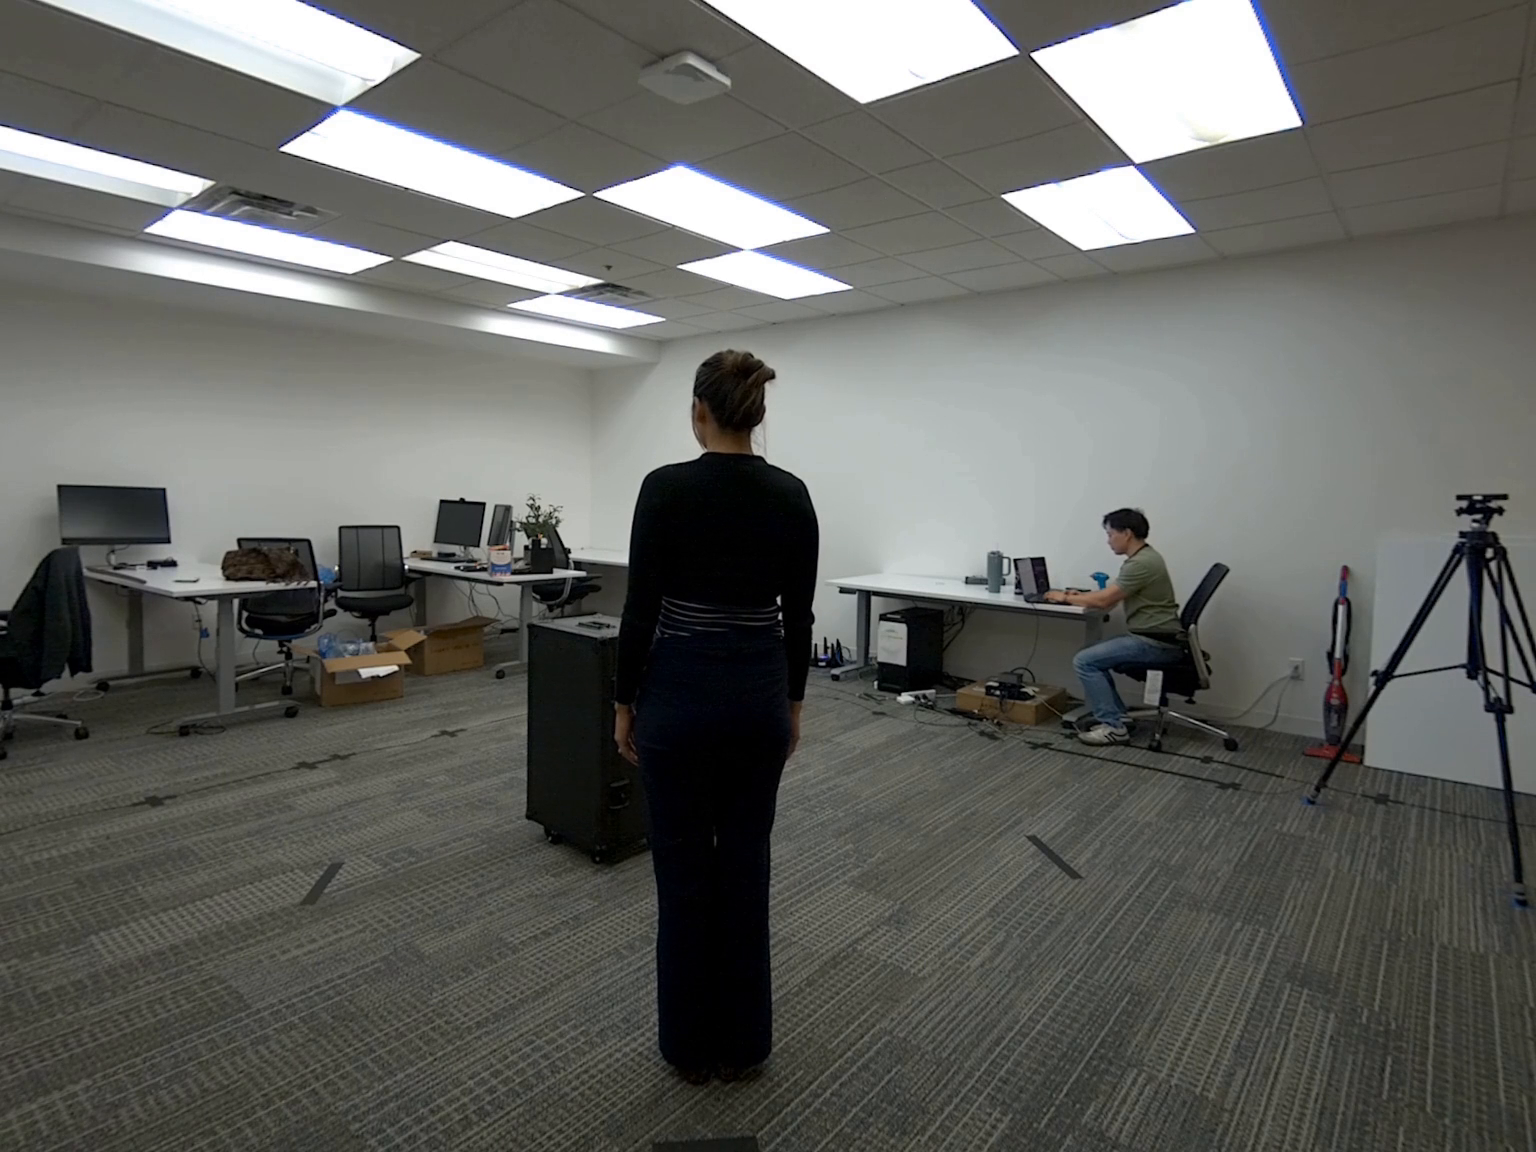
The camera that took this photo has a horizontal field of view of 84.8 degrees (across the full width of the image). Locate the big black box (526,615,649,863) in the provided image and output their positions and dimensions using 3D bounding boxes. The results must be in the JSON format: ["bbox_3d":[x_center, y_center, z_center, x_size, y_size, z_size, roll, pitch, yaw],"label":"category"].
[{"bbox_3d":[-0.667,0.614,3.322,0.539,0.860,0.384,4,3,43],"label":"big black box"}]
